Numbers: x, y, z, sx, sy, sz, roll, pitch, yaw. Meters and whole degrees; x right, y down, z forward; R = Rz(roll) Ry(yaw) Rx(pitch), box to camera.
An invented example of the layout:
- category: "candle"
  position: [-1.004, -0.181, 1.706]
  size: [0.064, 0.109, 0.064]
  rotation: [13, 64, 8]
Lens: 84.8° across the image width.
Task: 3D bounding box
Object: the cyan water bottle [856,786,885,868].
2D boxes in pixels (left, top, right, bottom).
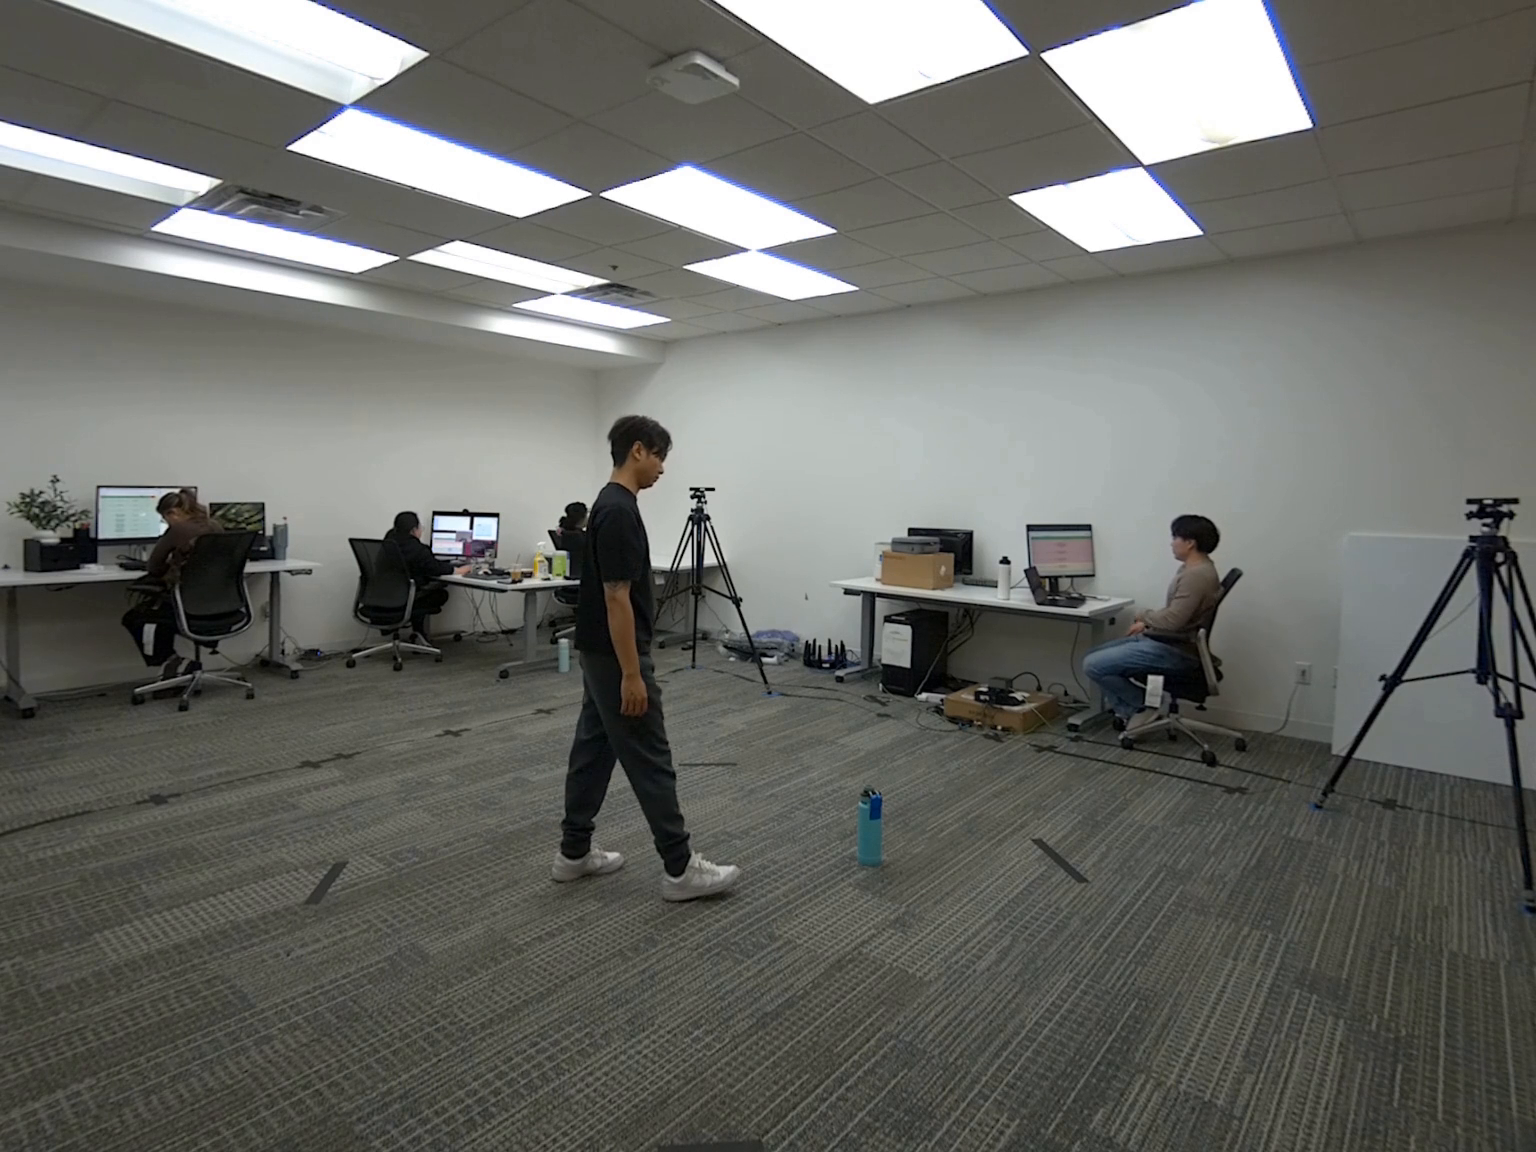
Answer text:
- category: "cyan water bottle"
  position: [0.379, 0.935, 3.196]
  size: [0.092, 0.282, 0.093]
  rotation: [1, 4, -2]
